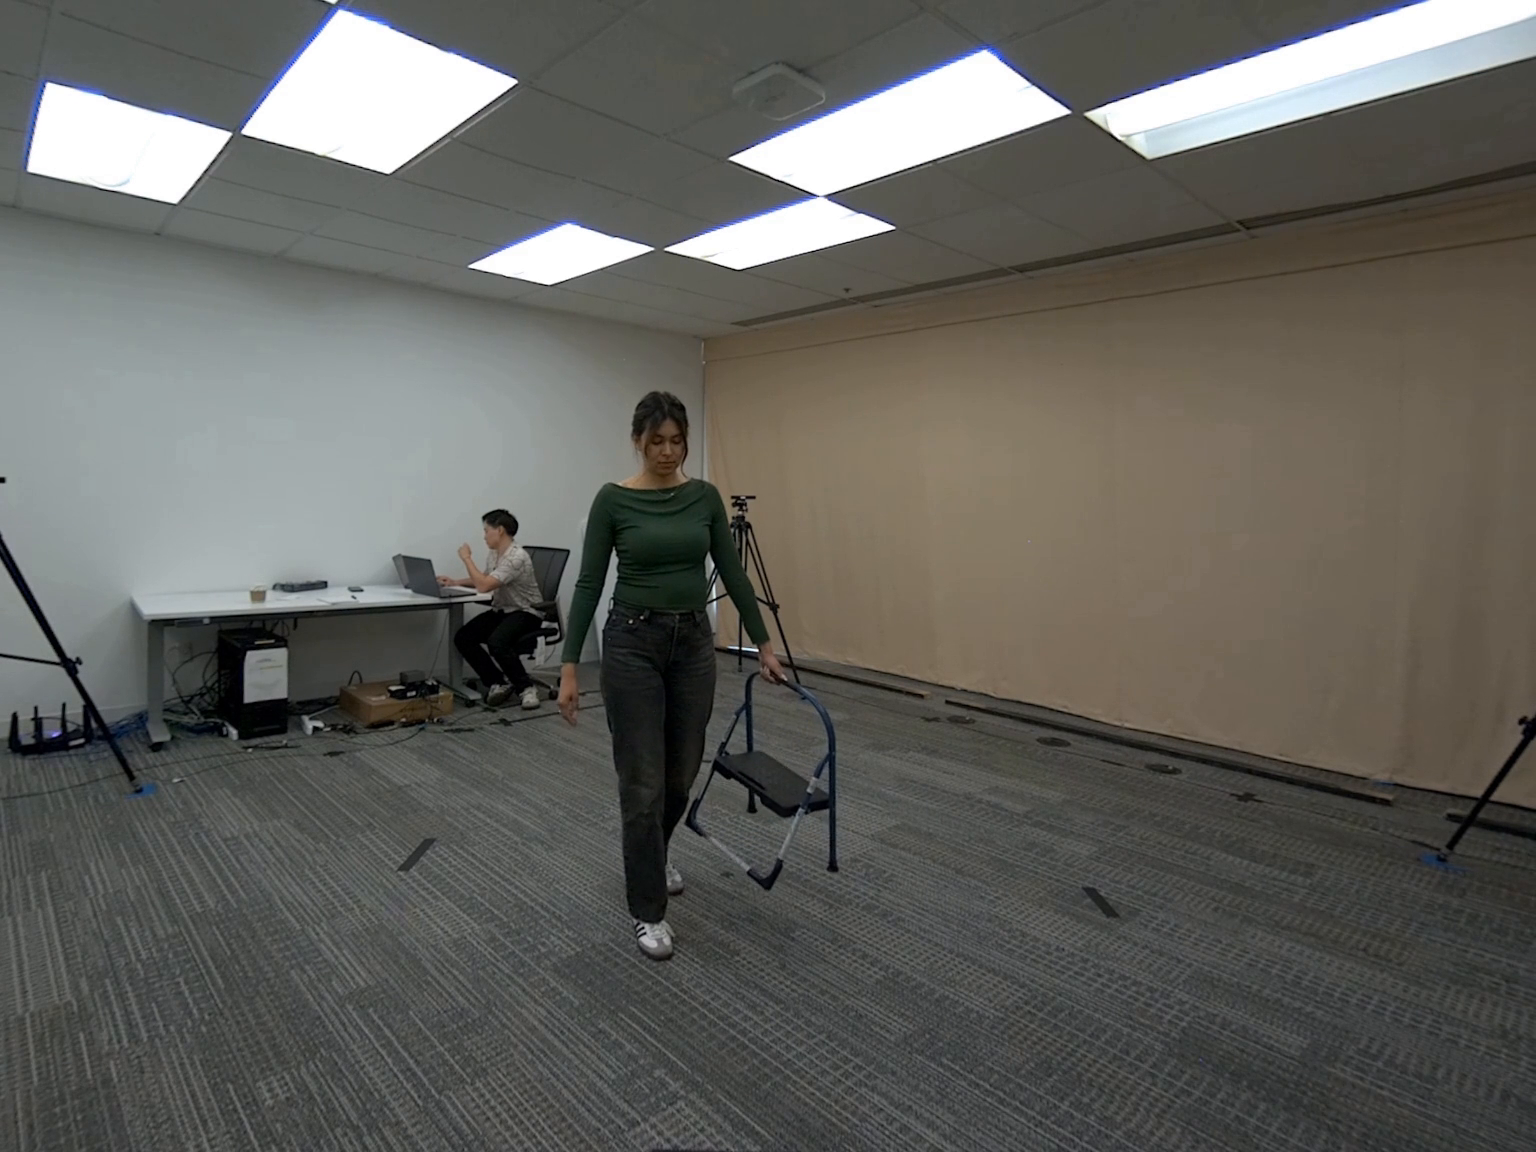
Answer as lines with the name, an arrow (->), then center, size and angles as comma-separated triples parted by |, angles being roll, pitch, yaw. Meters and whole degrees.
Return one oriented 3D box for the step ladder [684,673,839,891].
step ladder -> 0.037, 0.626, 2.785 | 0.443, 0.603, 0.340 | 21, 12, 42
